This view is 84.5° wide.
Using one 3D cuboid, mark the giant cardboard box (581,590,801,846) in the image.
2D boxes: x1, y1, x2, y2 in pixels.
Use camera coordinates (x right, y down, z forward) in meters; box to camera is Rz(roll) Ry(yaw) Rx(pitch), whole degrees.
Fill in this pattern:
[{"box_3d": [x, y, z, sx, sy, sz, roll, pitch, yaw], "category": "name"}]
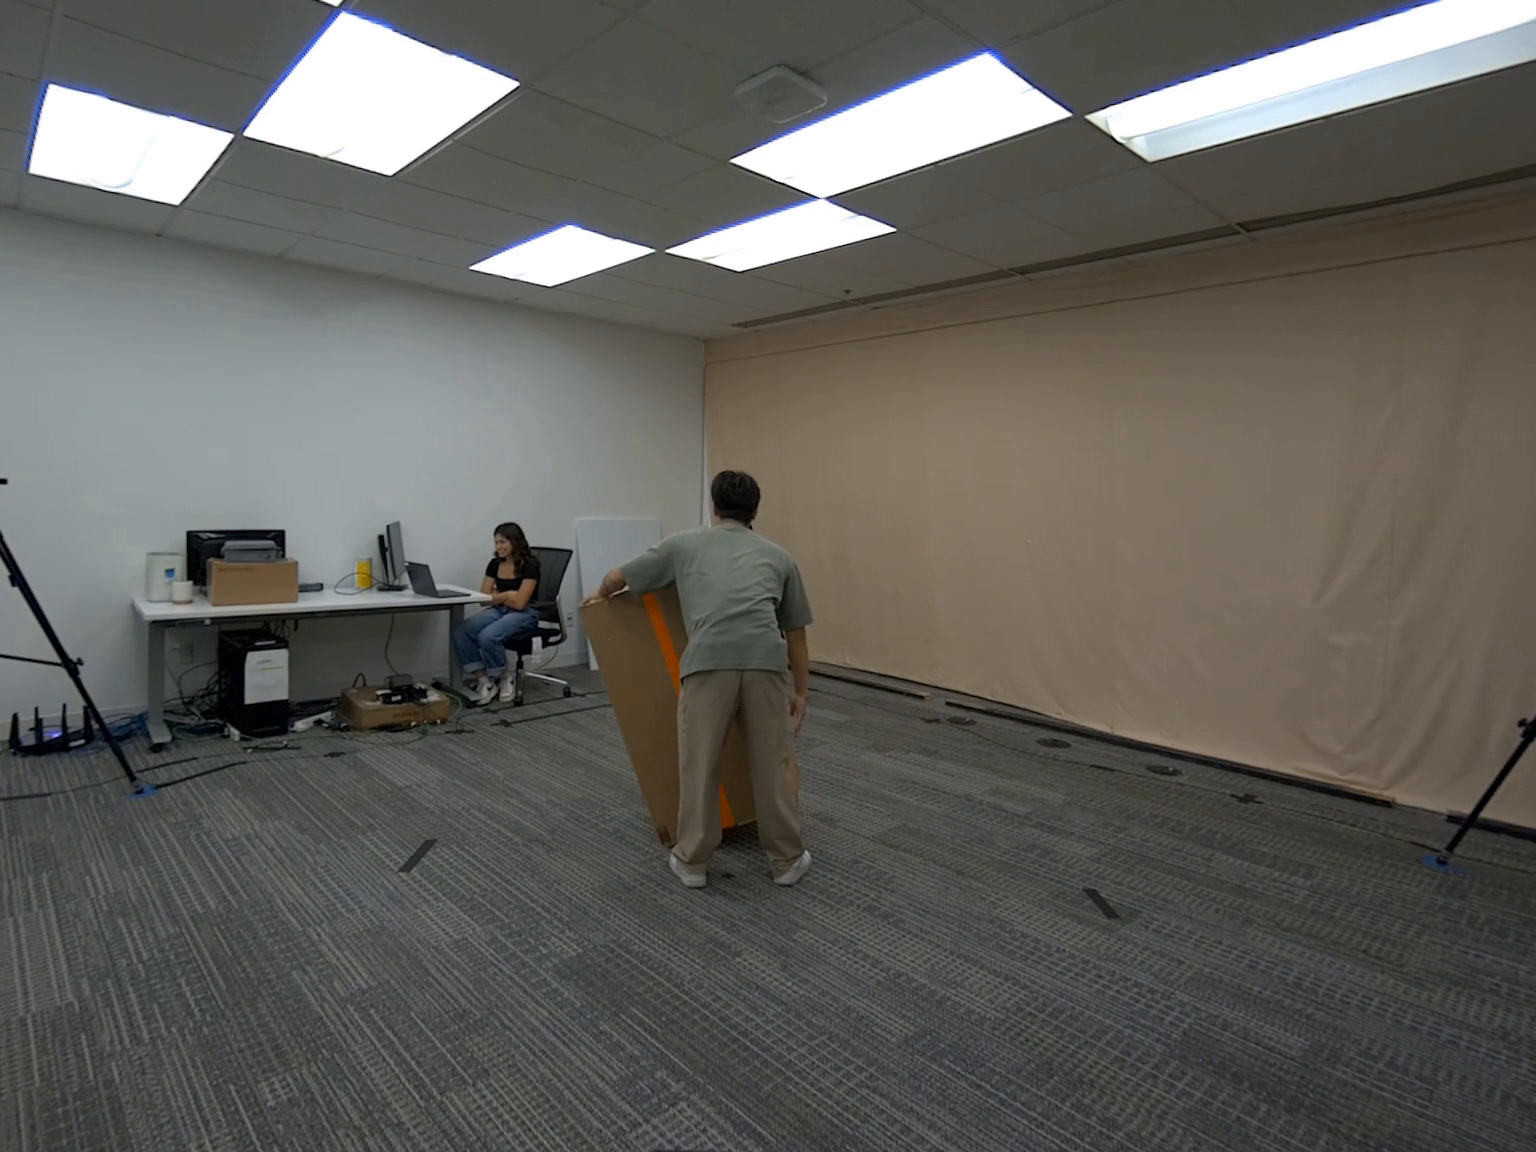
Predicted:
[{"box_3d": [-0.321, 0.500, 3.522, 0.579, 1.025, 0.425, -19, 1, 5], "category": "giant cardboard box"}]
